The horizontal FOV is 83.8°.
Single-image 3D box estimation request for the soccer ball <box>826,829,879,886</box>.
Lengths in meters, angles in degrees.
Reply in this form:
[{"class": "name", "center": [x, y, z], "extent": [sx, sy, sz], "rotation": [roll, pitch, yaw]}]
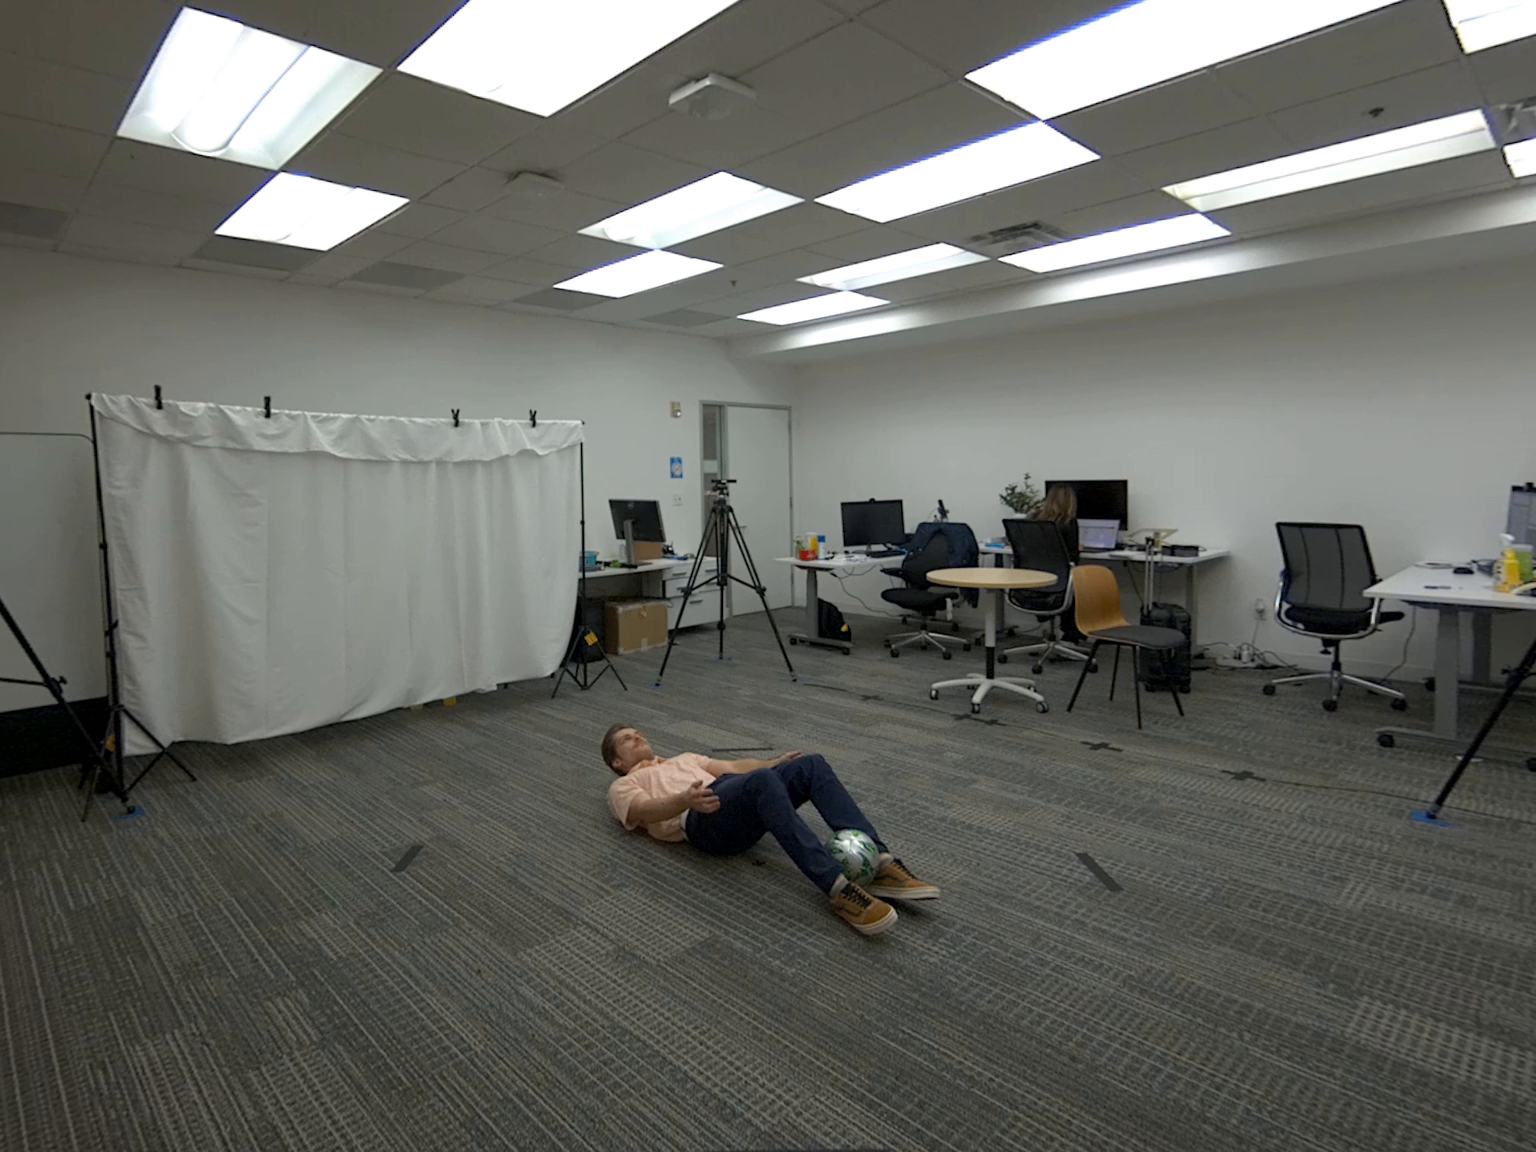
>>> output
[{"class": "soccer ball", "center": [0.263, 0.930, 2.814], "extent": [0.187, 0.187, 0.188], "rotation": [-1, 5, -2]}]
